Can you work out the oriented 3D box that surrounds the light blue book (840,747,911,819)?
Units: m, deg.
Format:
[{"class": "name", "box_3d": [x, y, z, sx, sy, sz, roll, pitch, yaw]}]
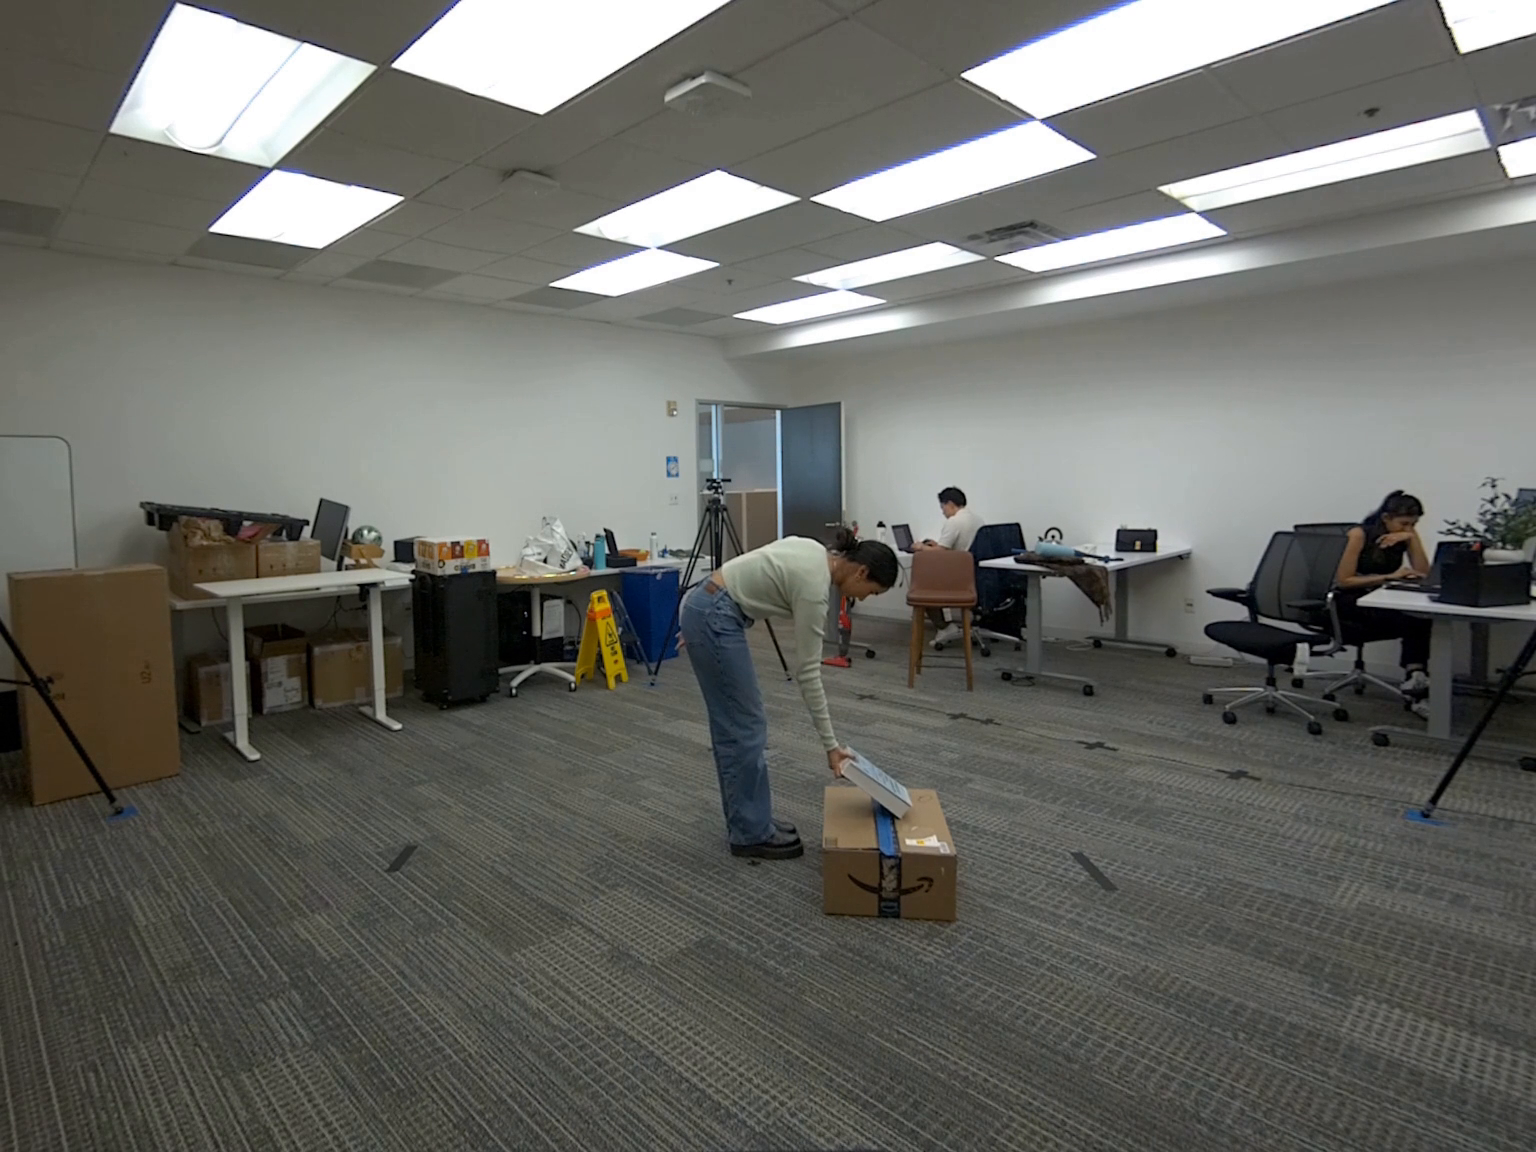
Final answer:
[{"class": "light blue book", "box_3d": [0.373, 0.723, 3.031, 0.260, 0.059, 0.192, 36, 6, -2]}]
